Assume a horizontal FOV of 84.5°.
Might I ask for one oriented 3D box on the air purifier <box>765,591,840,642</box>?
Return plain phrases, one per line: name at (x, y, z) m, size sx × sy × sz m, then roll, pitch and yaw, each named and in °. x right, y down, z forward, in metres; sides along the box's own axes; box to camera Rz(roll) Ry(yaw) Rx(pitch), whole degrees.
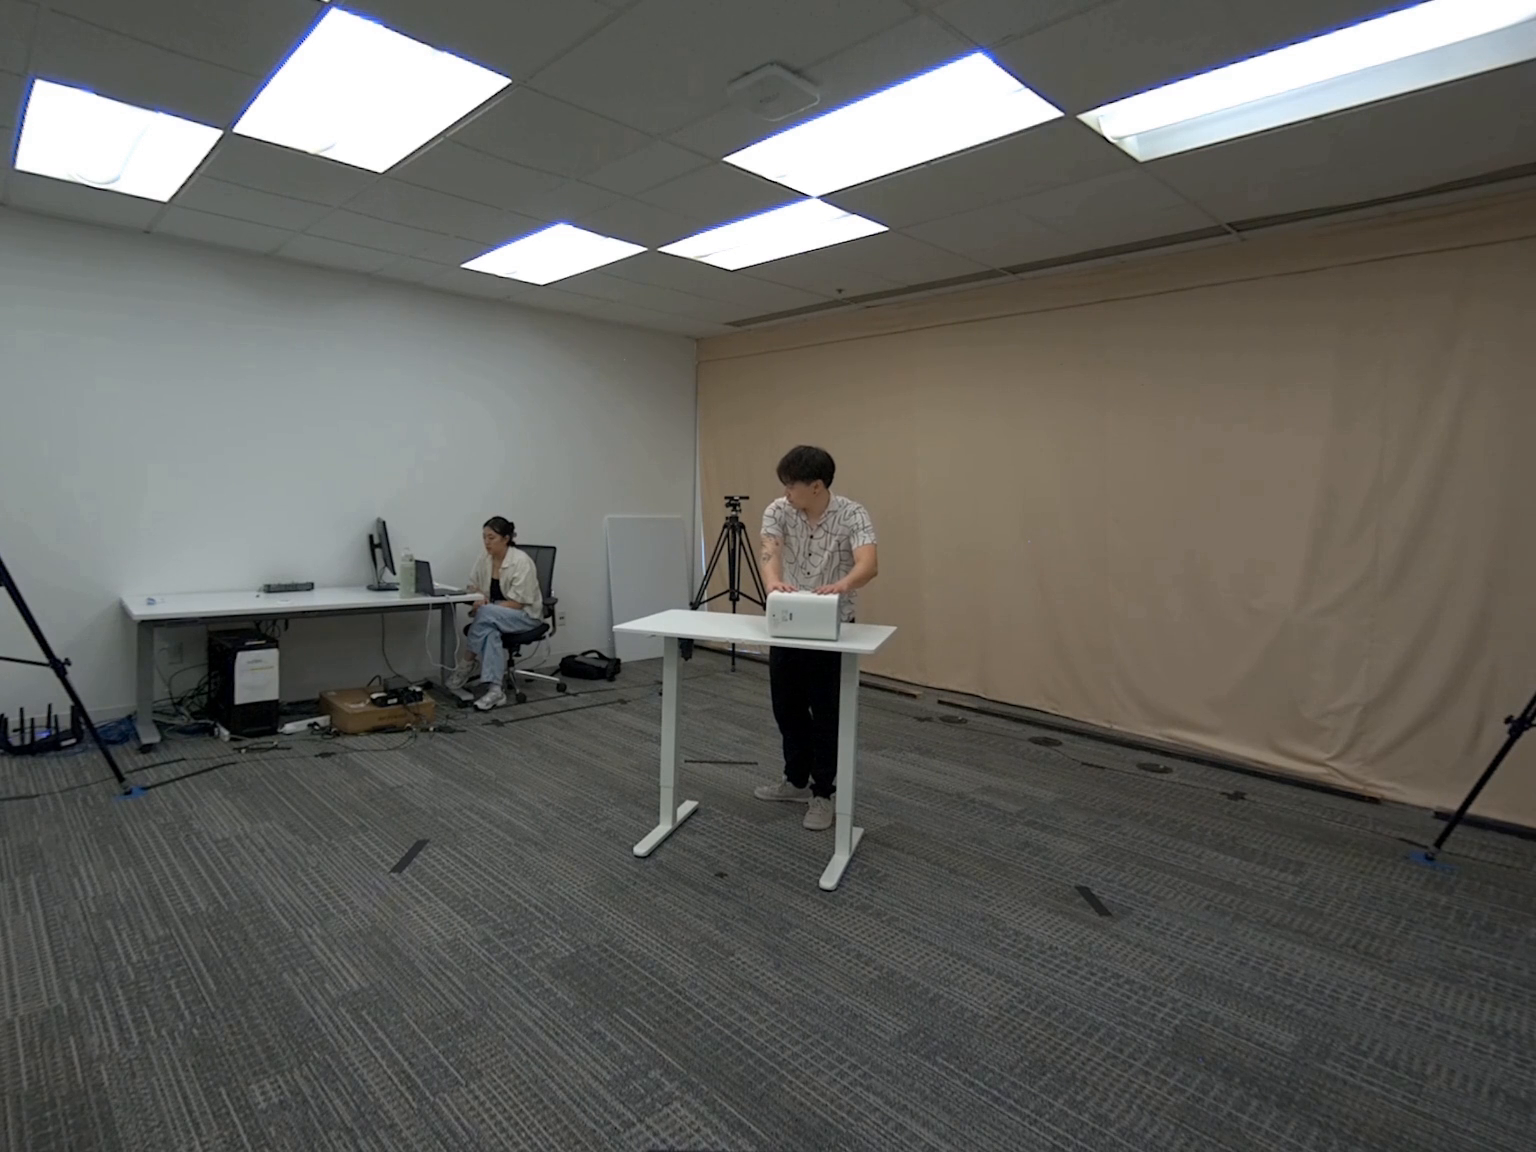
air purifier at (0.121, 0.141, 3.122) m, size 0.268 × 0.171 × 0.170 m, roll 4°, pitch 4°, yaw 12°
